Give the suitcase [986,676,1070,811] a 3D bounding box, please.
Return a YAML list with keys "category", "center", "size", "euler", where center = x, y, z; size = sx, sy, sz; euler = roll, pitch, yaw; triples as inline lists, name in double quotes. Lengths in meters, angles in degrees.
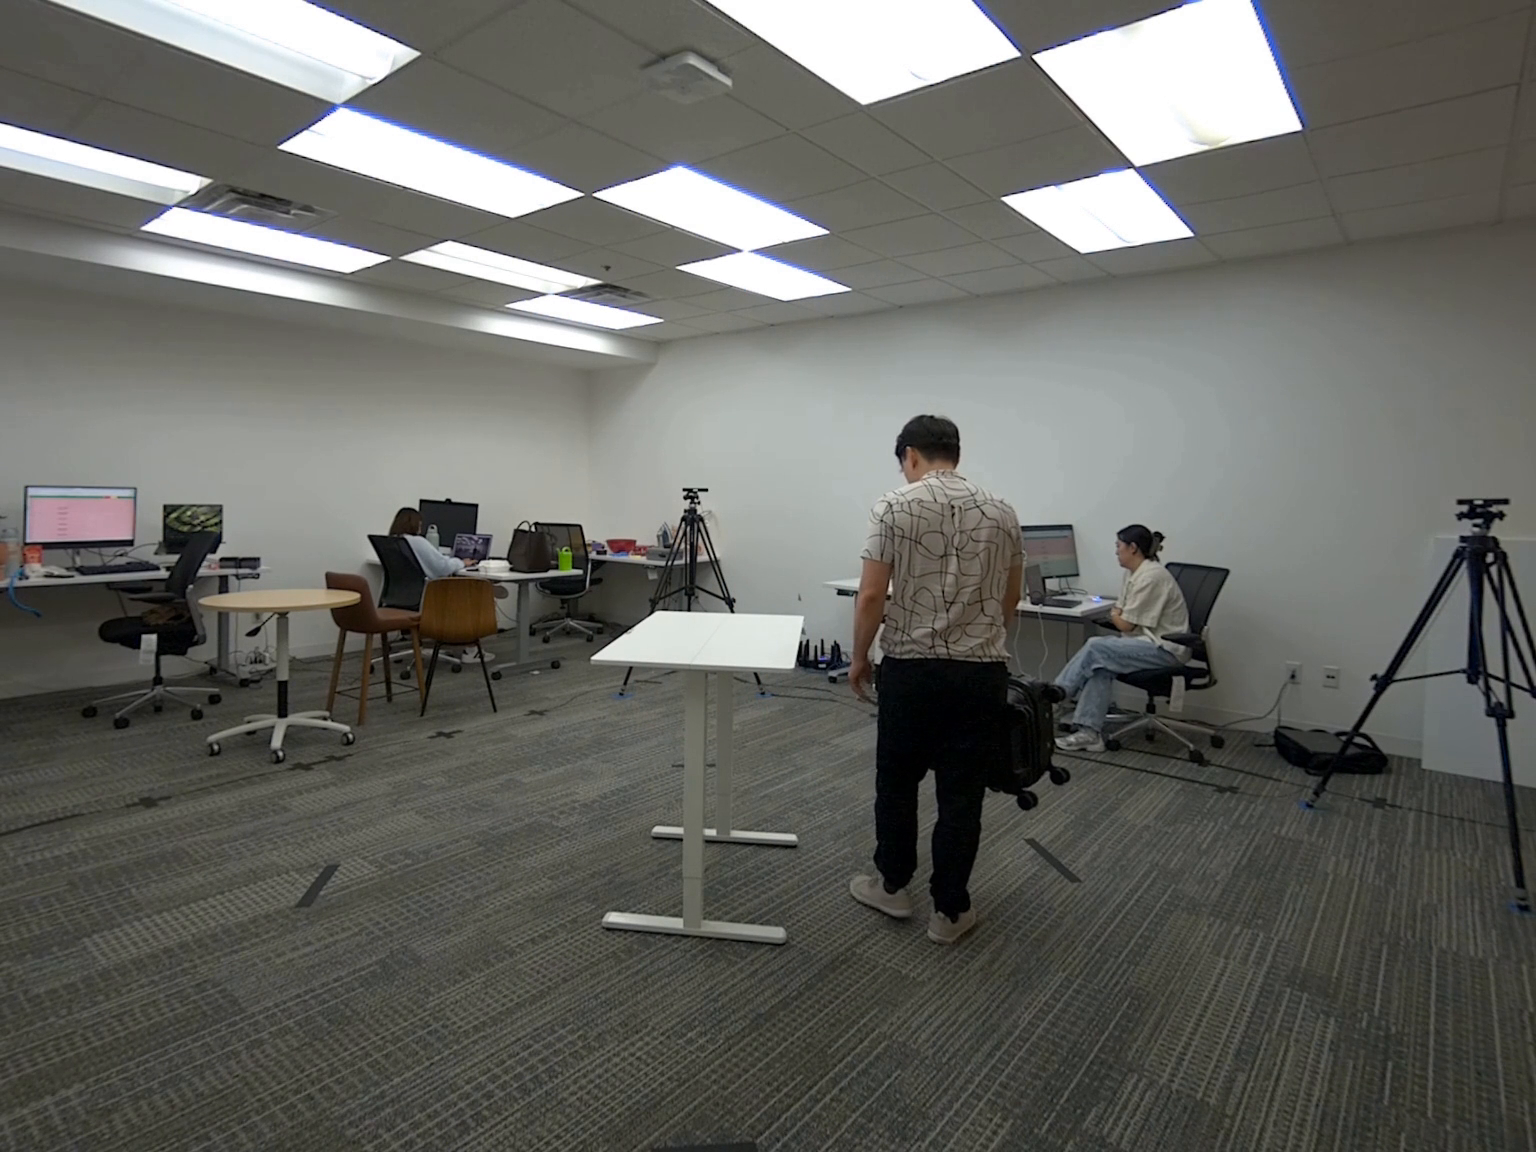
- category: "suitcase"
  center: [0.718, 0.509, 2.973]
  size: [0.243, 0.371, 0.569]
  euler: [-15, 15, -39]
